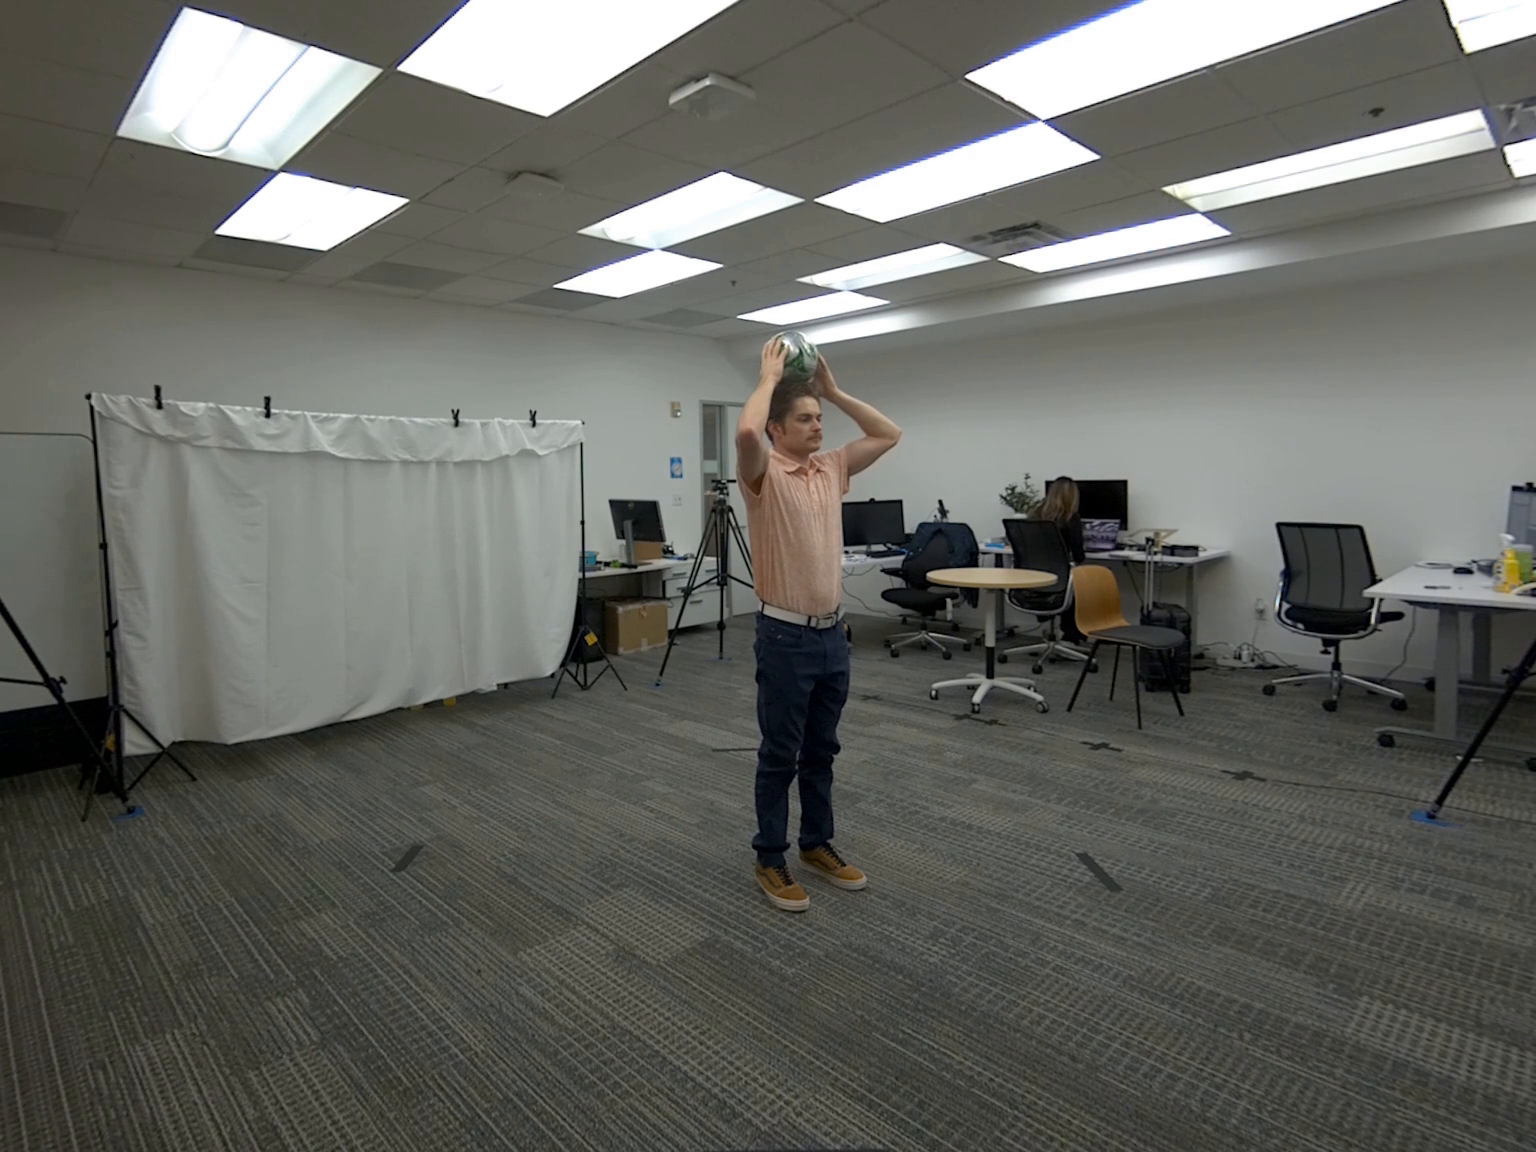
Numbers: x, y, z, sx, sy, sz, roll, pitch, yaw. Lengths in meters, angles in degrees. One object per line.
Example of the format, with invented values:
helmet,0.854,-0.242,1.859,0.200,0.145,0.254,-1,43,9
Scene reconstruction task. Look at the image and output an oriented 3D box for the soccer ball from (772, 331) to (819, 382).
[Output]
soccer ball,0.078,-0.720,2.873,0.187,0.187,0.188,-1,5,-2
